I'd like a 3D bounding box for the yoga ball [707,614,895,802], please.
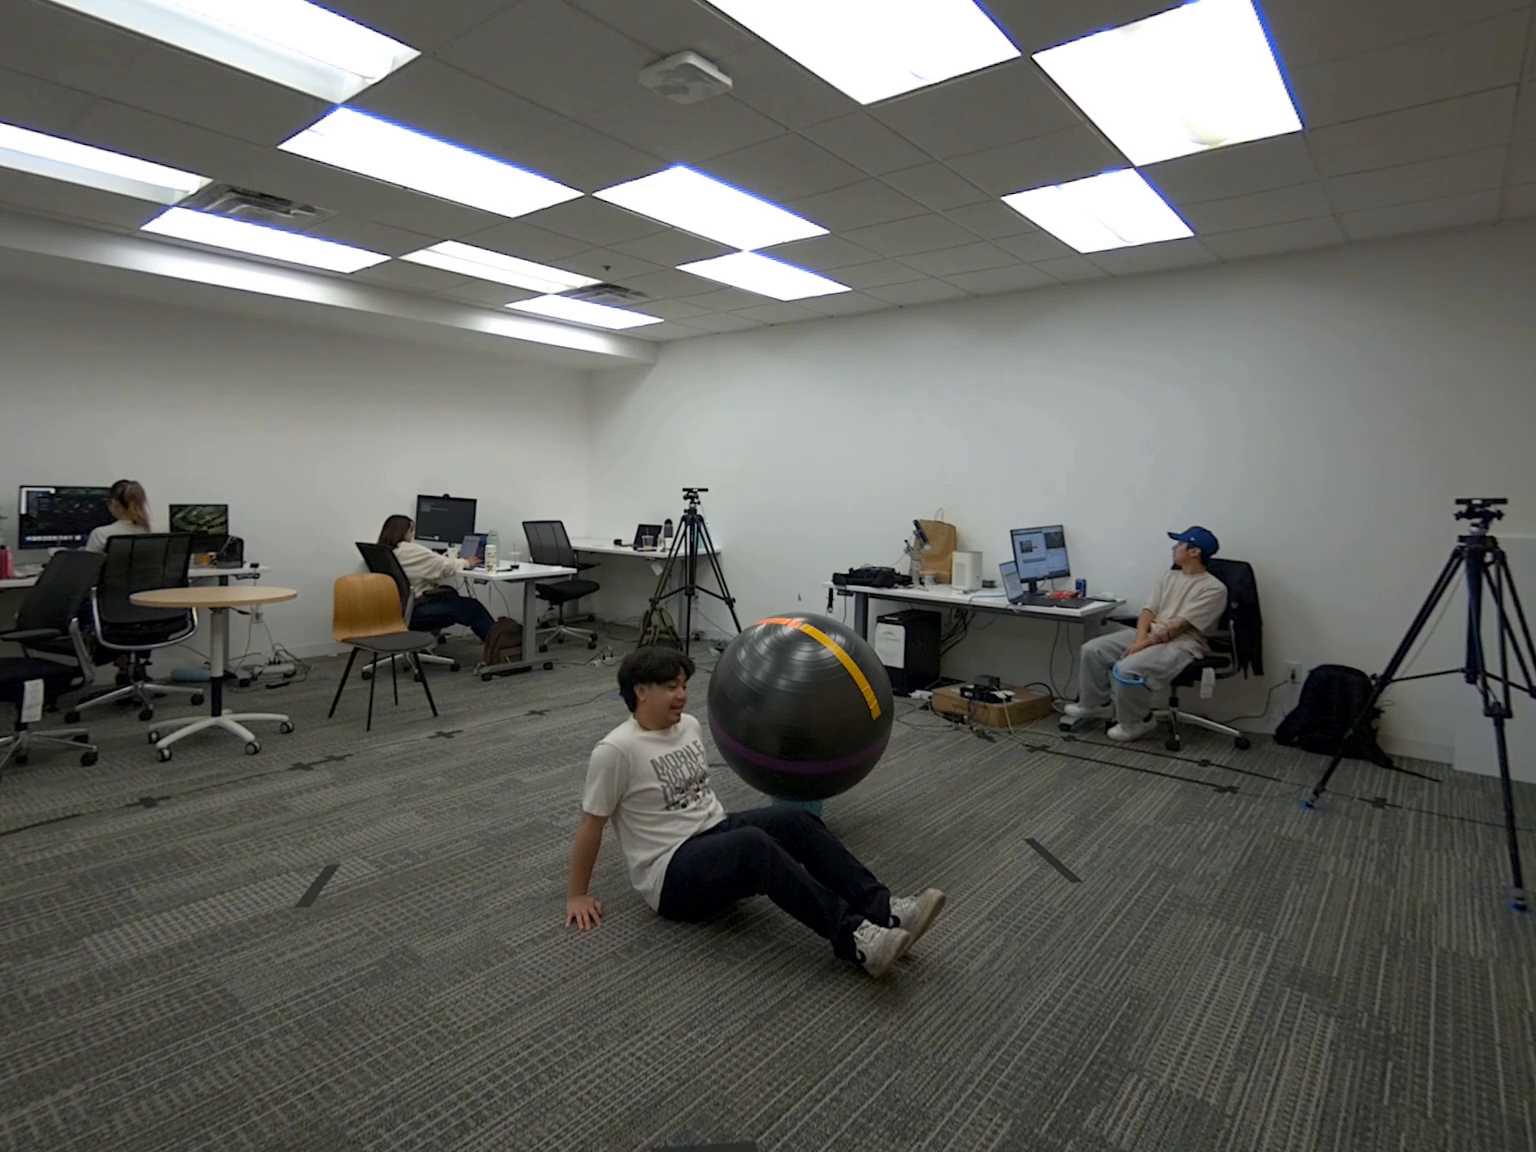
[{"bbox_3d":[0.133,0.528,3.488,0.757,0.756,0.761,1,4,-2],"label":"yoga ball"}]
